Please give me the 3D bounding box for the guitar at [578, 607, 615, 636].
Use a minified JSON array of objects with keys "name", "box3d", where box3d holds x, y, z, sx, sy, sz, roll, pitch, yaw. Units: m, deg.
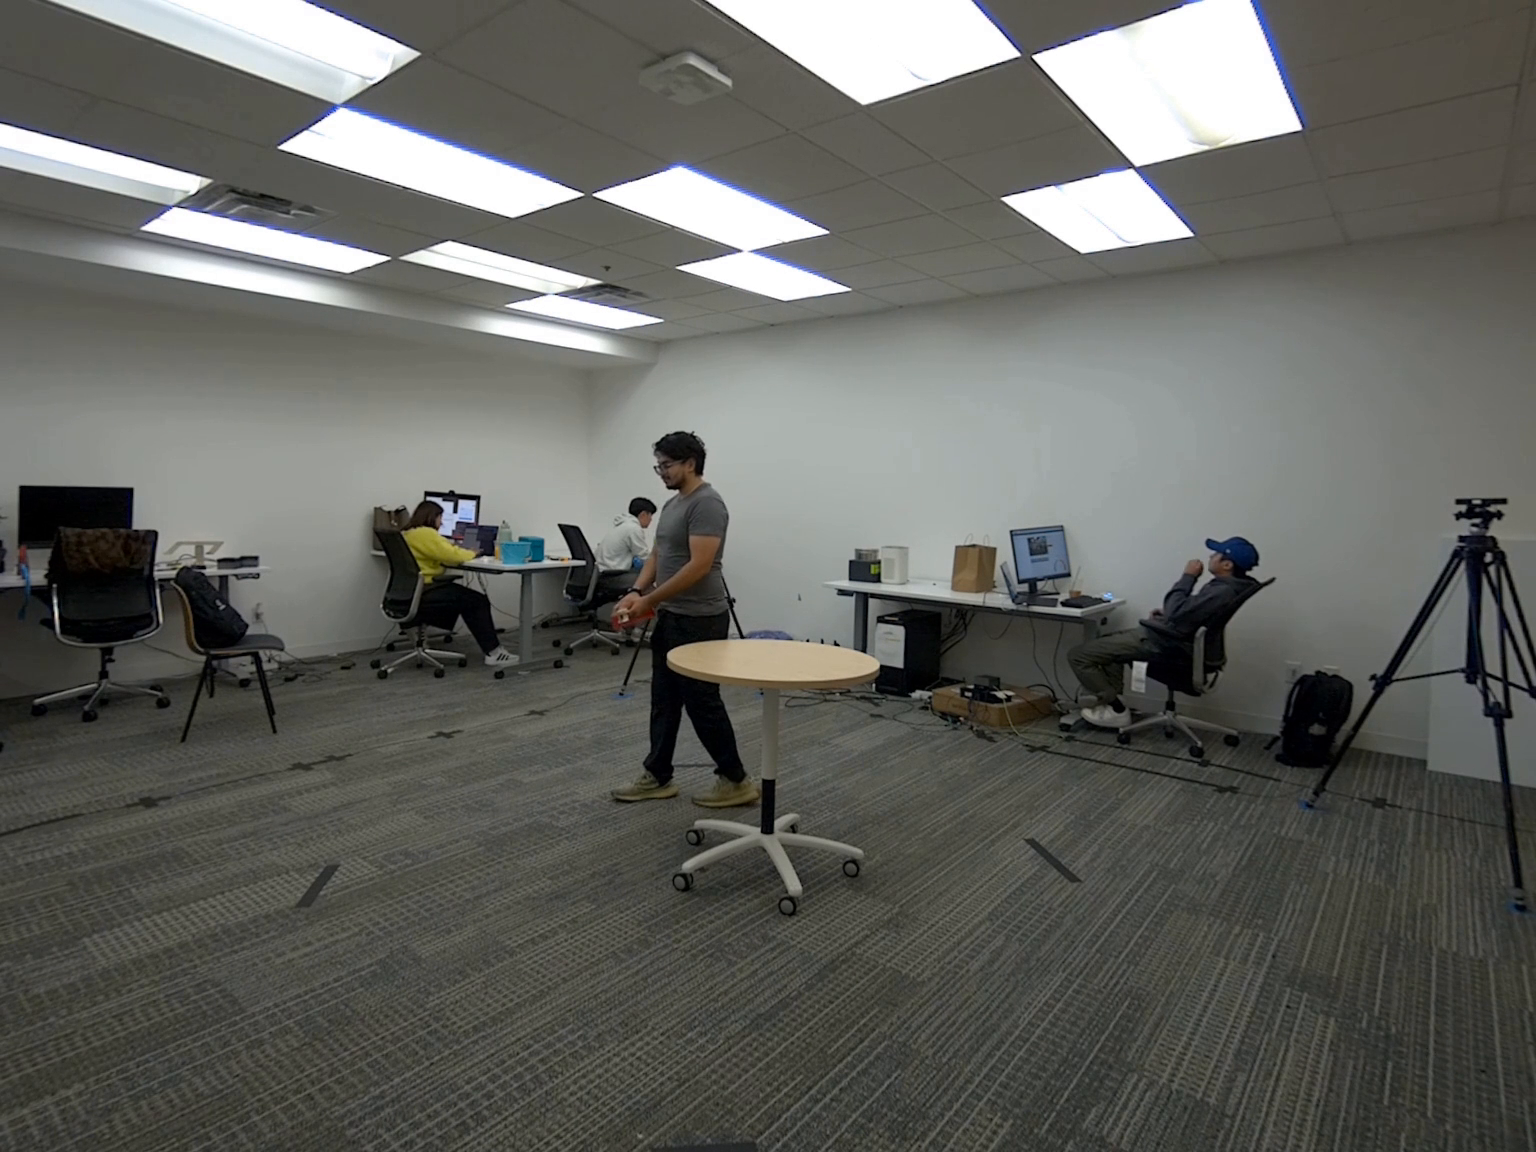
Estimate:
[{"name":"guitar","box3d":[-0.631,0.172,3.598,0.194,0.071,0.492,-16,-1,7]}]
